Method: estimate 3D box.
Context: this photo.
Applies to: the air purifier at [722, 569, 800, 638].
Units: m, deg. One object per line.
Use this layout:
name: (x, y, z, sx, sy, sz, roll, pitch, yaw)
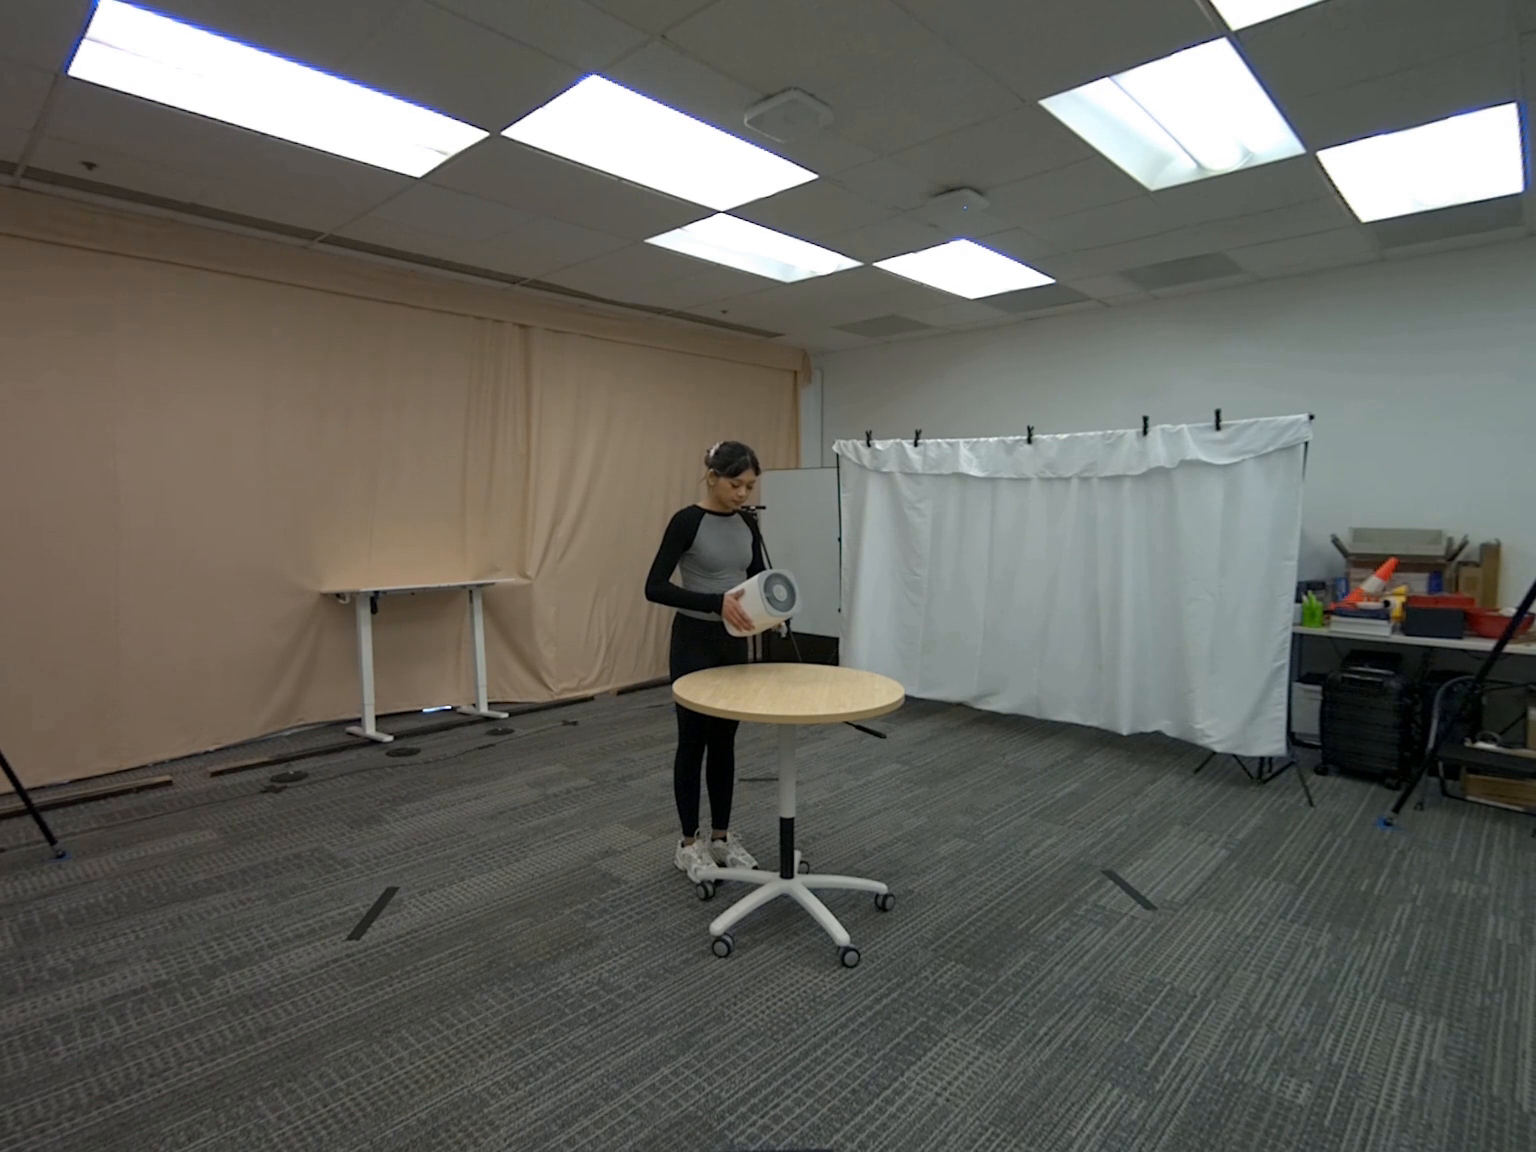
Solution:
air purifier: (-0.030, 0.098, 2.993, 0.166, 0.173, 0.270, -4, -16, -38)
